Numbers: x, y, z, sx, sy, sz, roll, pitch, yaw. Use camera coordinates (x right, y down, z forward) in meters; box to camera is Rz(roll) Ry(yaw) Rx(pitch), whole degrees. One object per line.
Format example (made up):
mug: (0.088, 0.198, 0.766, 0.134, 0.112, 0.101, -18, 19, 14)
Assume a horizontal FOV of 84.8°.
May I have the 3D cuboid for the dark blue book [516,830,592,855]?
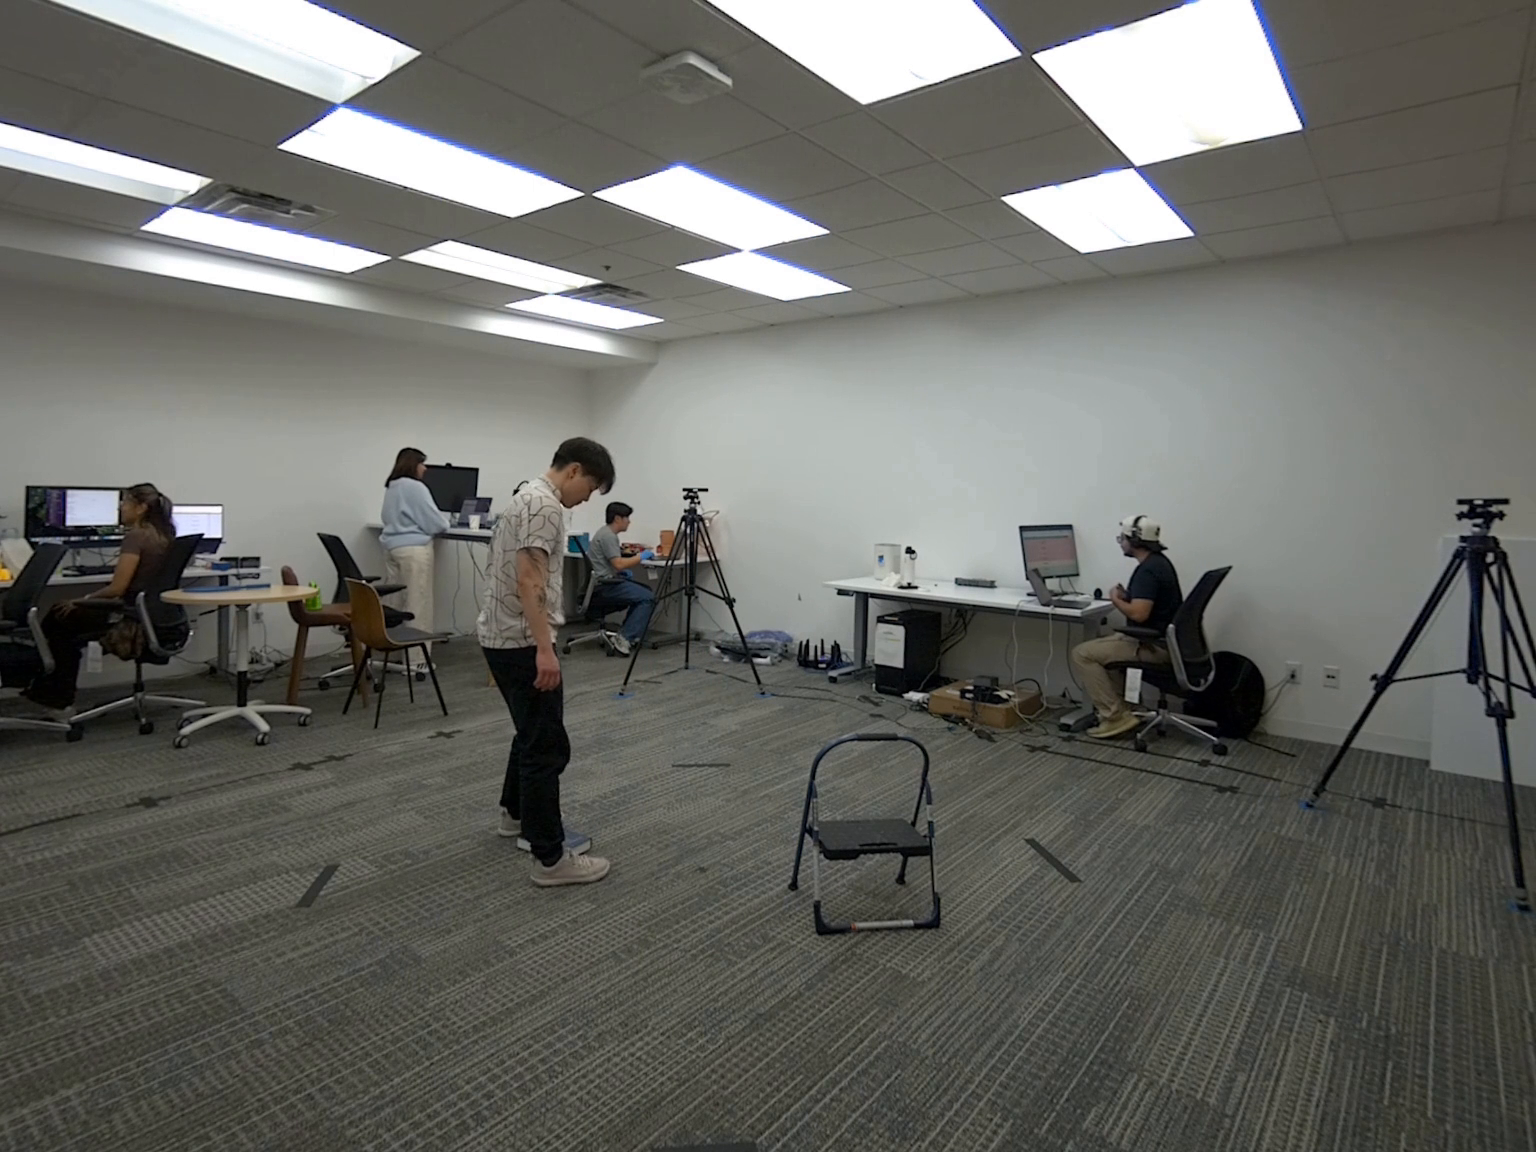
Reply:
dark blue book: (-0.833, 1.020, 3.261, 0.253, 0.045, 0.159, 5, 6, 32)
